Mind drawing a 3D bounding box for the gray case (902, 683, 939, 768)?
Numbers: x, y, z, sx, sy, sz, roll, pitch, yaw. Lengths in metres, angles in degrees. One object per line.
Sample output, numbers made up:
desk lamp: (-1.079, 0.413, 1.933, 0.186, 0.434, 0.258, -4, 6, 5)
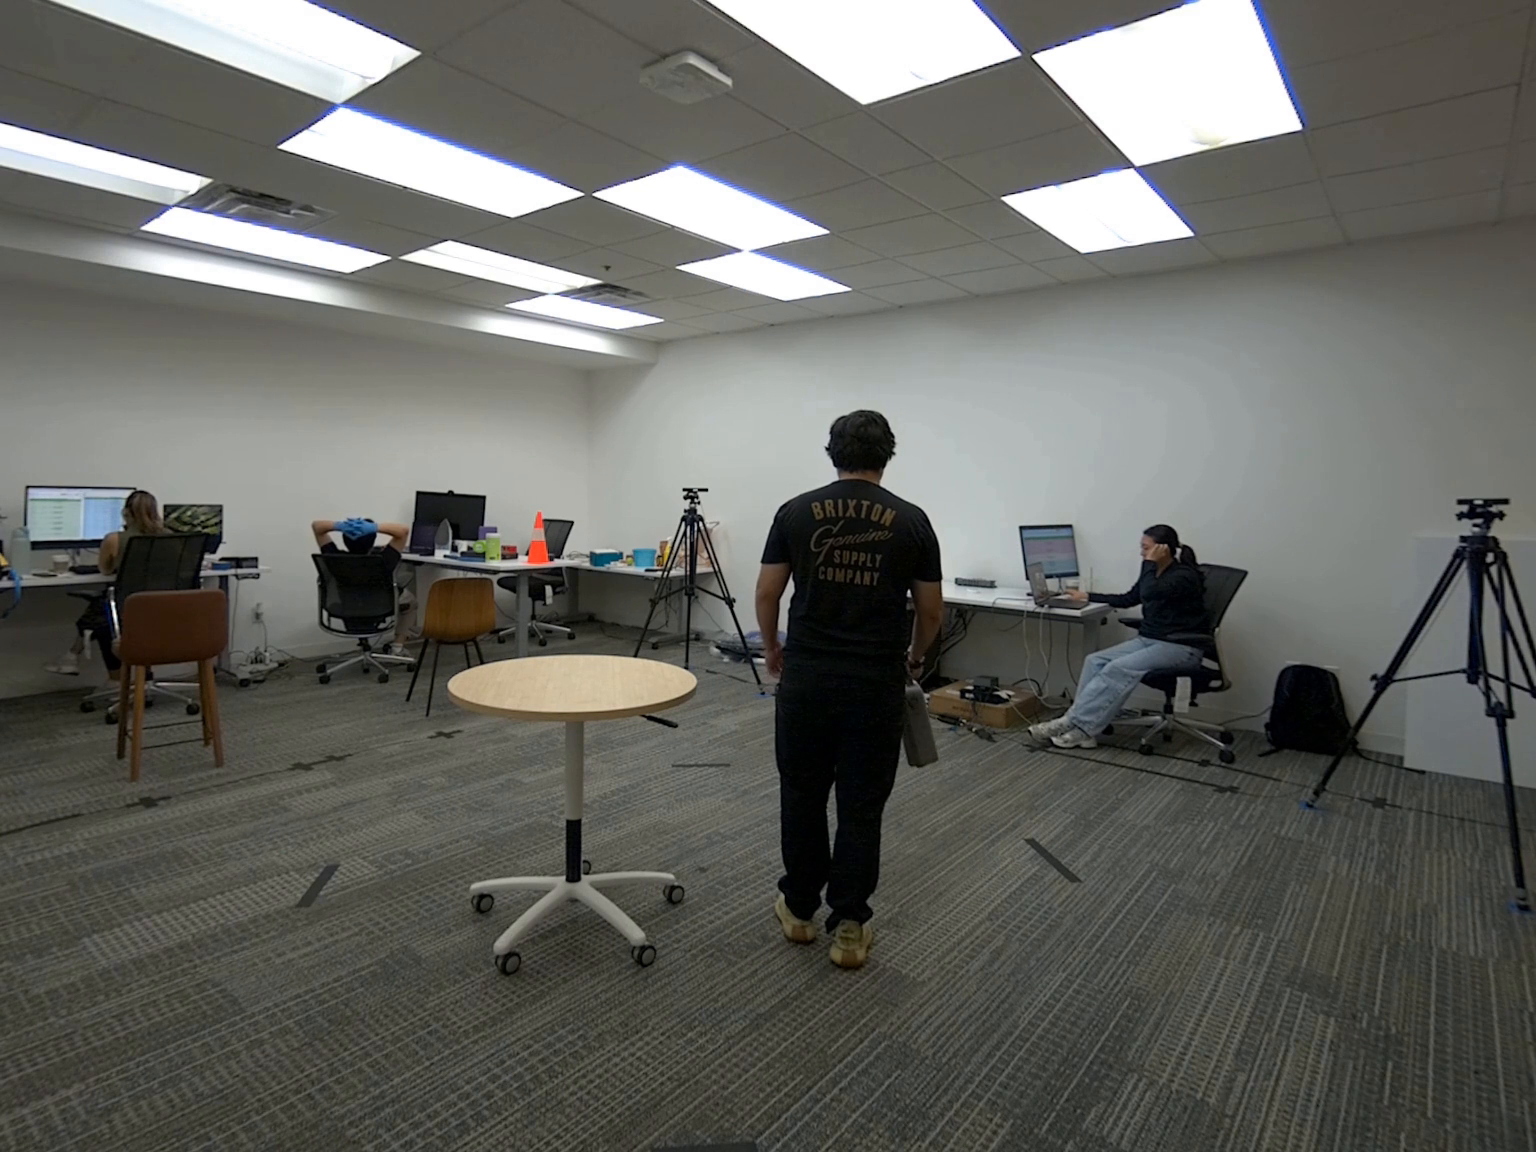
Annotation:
gray case: (0.469, 0.480, 2.863, 0.105, 0.261, 0.255, -11, -1, 5)
